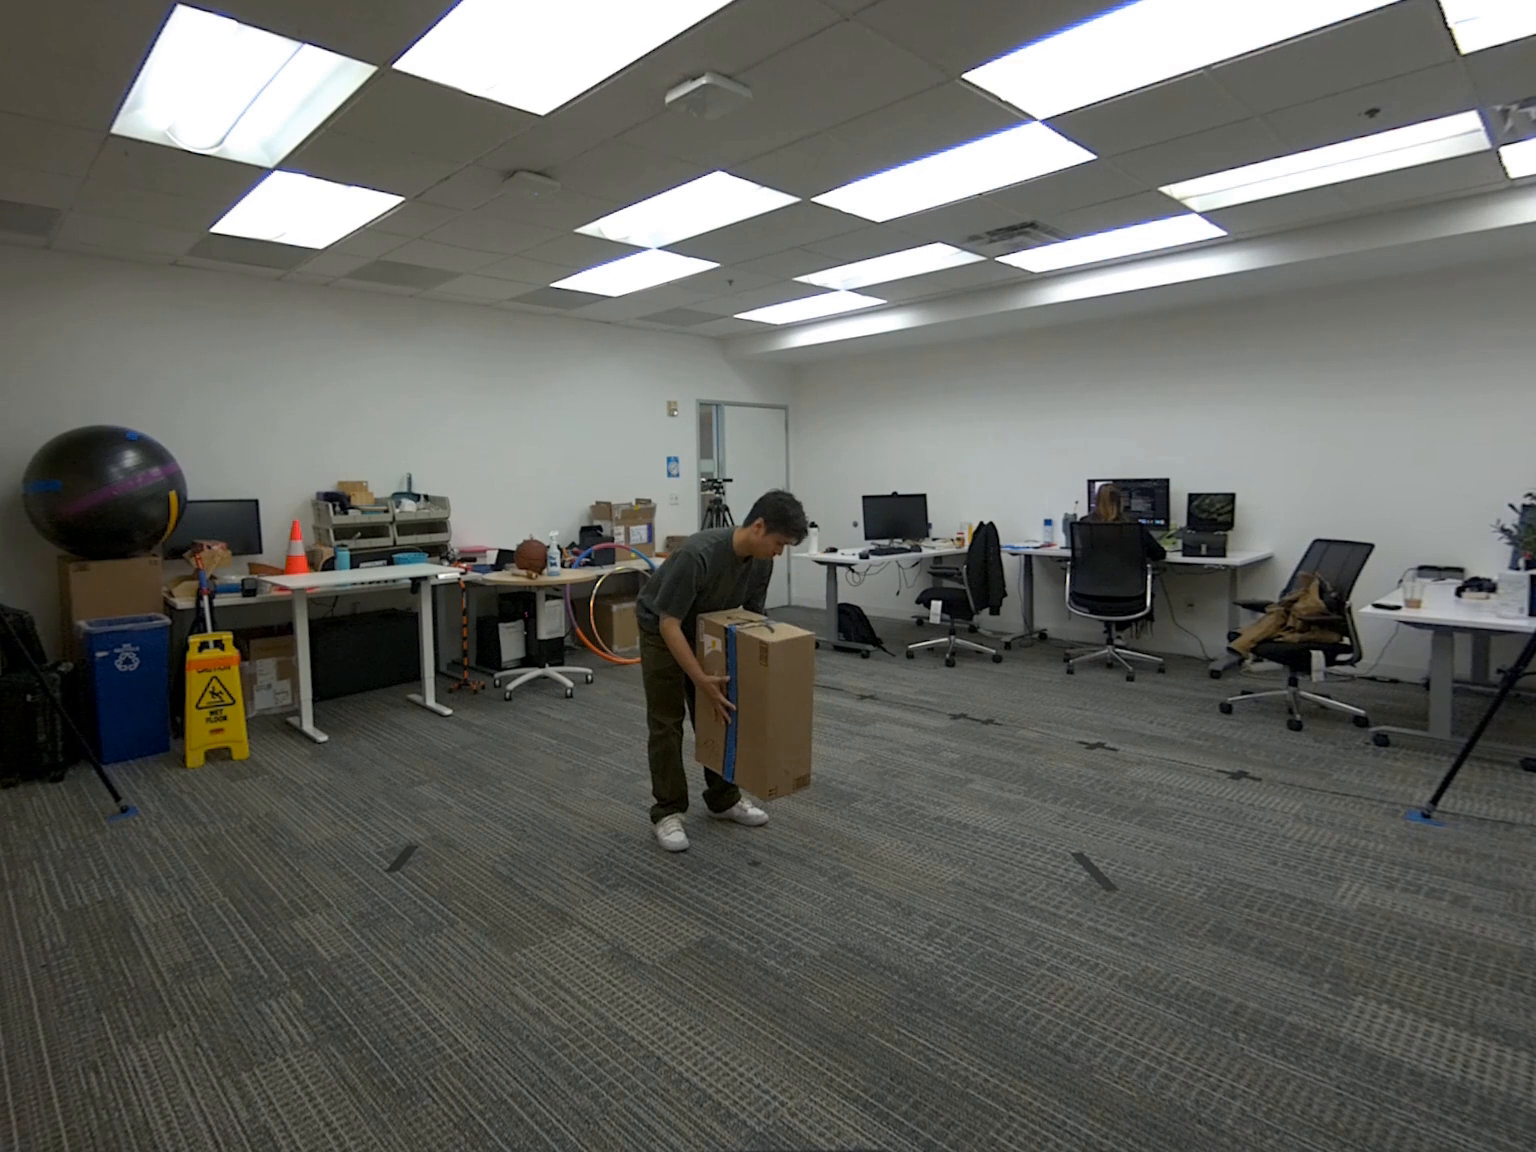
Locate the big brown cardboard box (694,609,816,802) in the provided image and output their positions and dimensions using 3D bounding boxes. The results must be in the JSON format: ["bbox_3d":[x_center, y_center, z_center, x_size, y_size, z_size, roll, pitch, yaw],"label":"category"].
[{"bbox_3d":[-0.051,0.447,3.089,0.227,0.584,0.431,-7,11,-39],"label":"big brown cardboard box"}]
